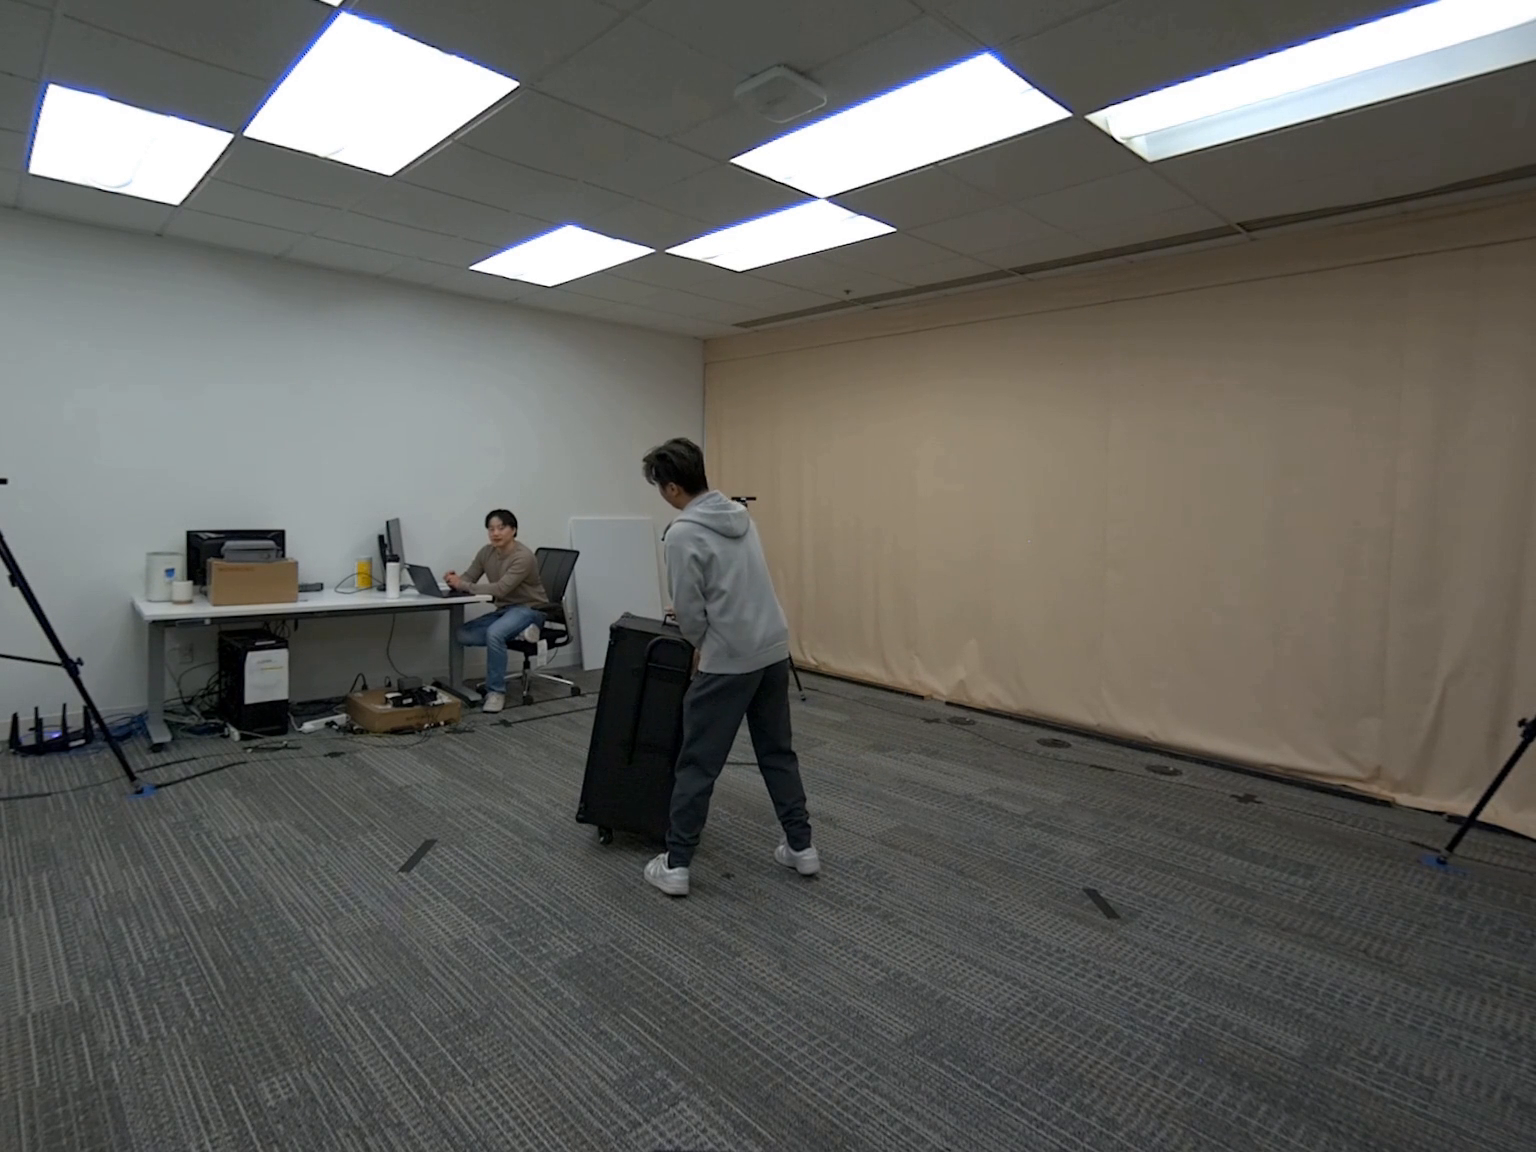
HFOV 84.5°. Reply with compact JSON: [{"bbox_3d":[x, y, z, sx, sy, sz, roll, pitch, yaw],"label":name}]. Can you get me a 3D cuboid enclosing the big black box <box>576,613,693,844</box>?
[{"bbox_3d":[-0.445,0.637,3.395,0.522,0.860,0.396,12,3,1],"label":"big black box"}]
